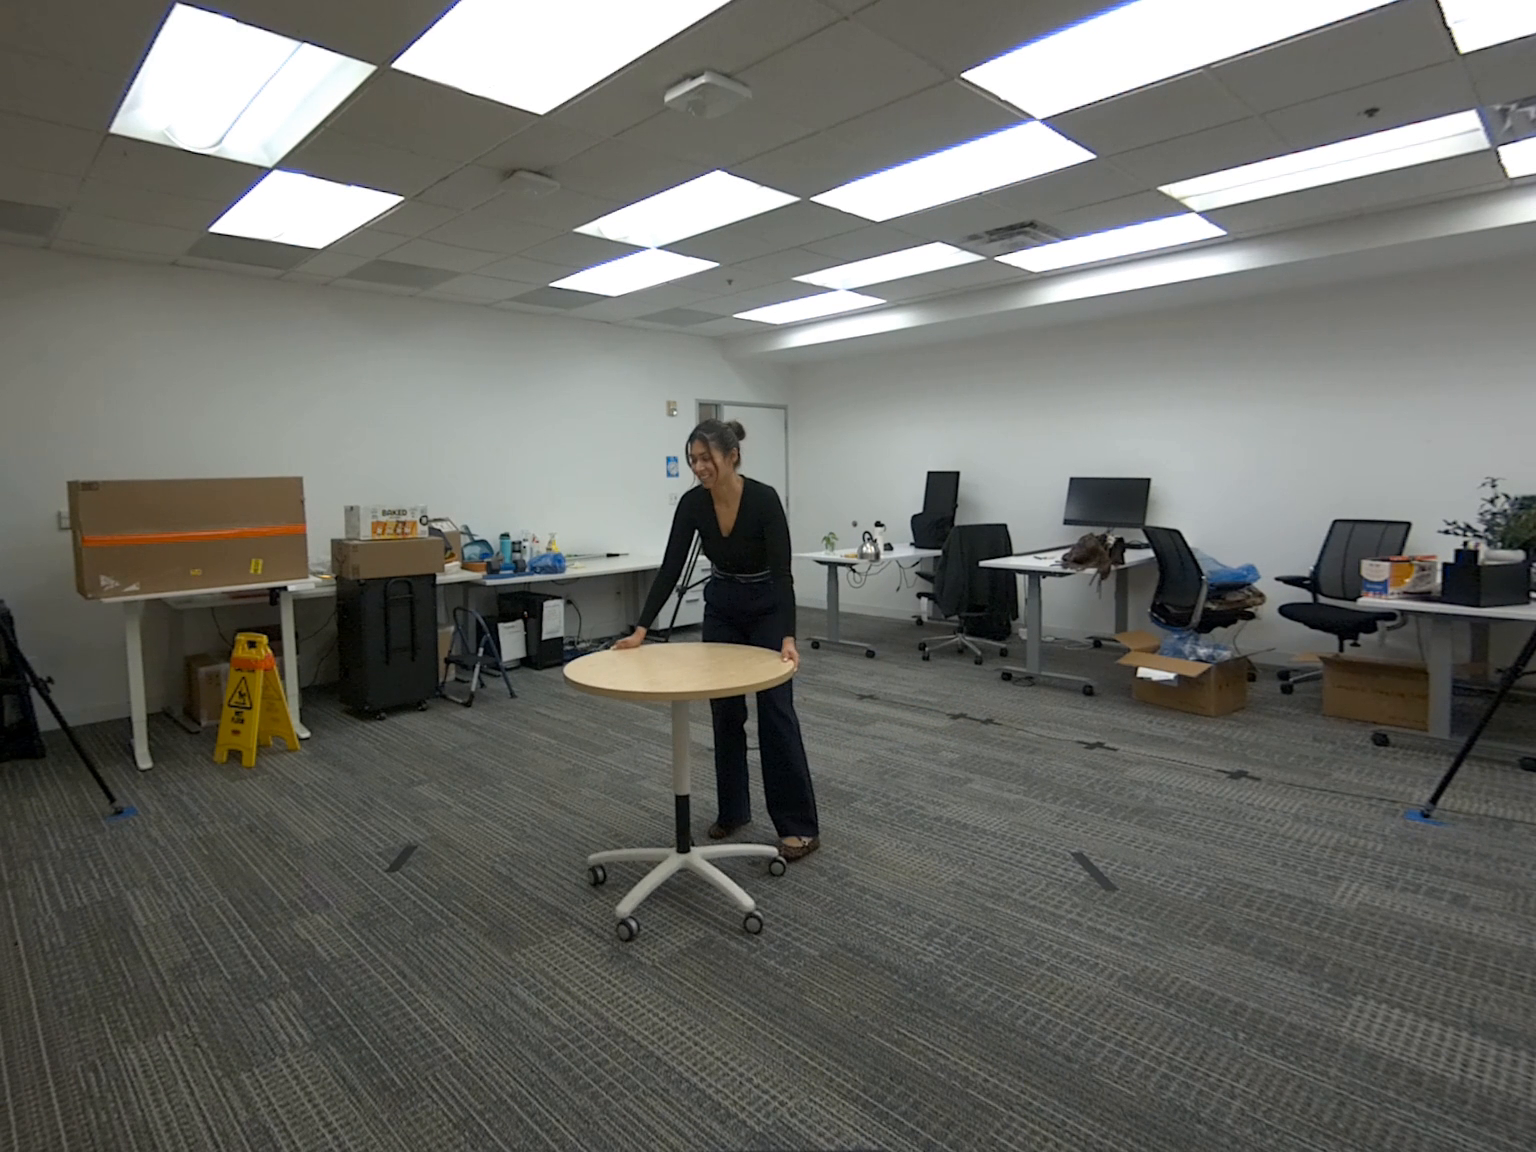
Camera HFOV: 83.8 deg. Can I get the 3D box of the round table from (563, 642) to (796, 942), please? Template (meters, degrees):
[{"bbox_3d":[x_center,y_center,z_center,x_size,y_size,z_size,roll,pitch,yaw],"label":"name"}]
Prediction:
[{"bbox_3d":[-0.283,0.686,2.876,0.763,0.791,0.768,-1,5,-2],"label":"round table"}]
